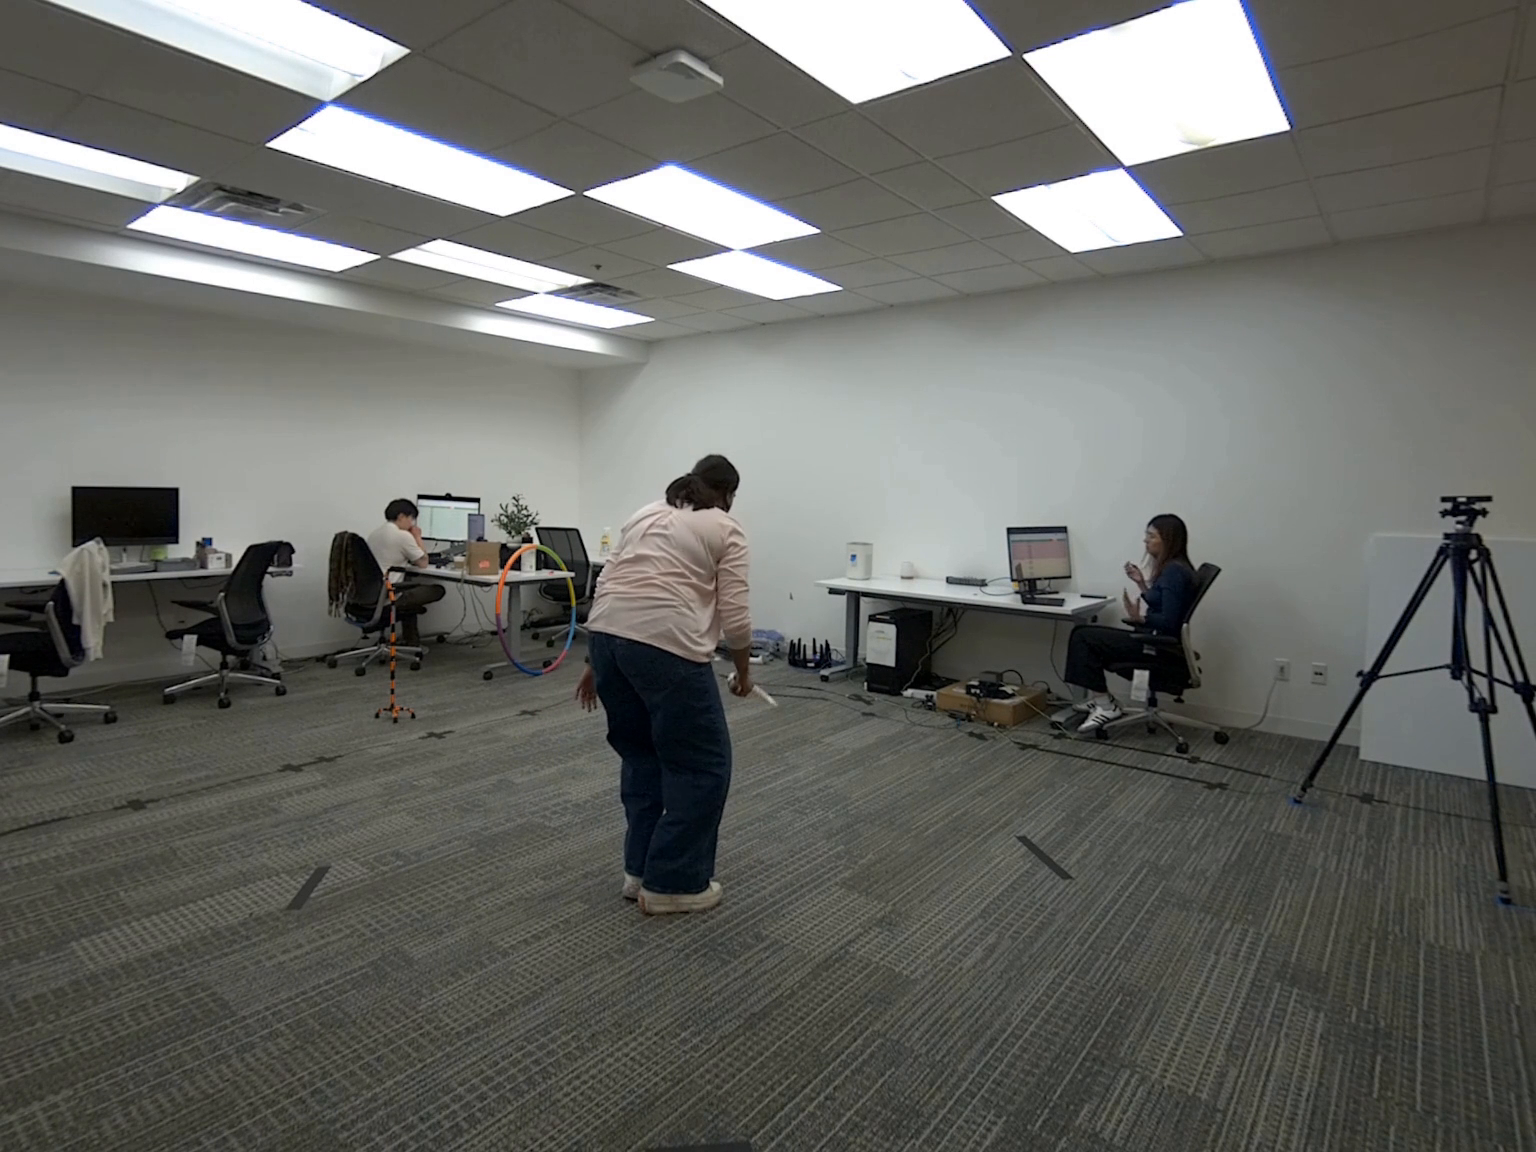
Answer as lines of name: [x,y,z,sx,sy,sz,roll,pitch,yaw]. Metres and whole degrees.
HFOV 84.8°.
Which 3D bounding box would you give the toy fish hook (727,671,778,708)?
toy fish hook: [-0.056,0.431,3.155,0.225,0.048,0.504,26,-3,0]
